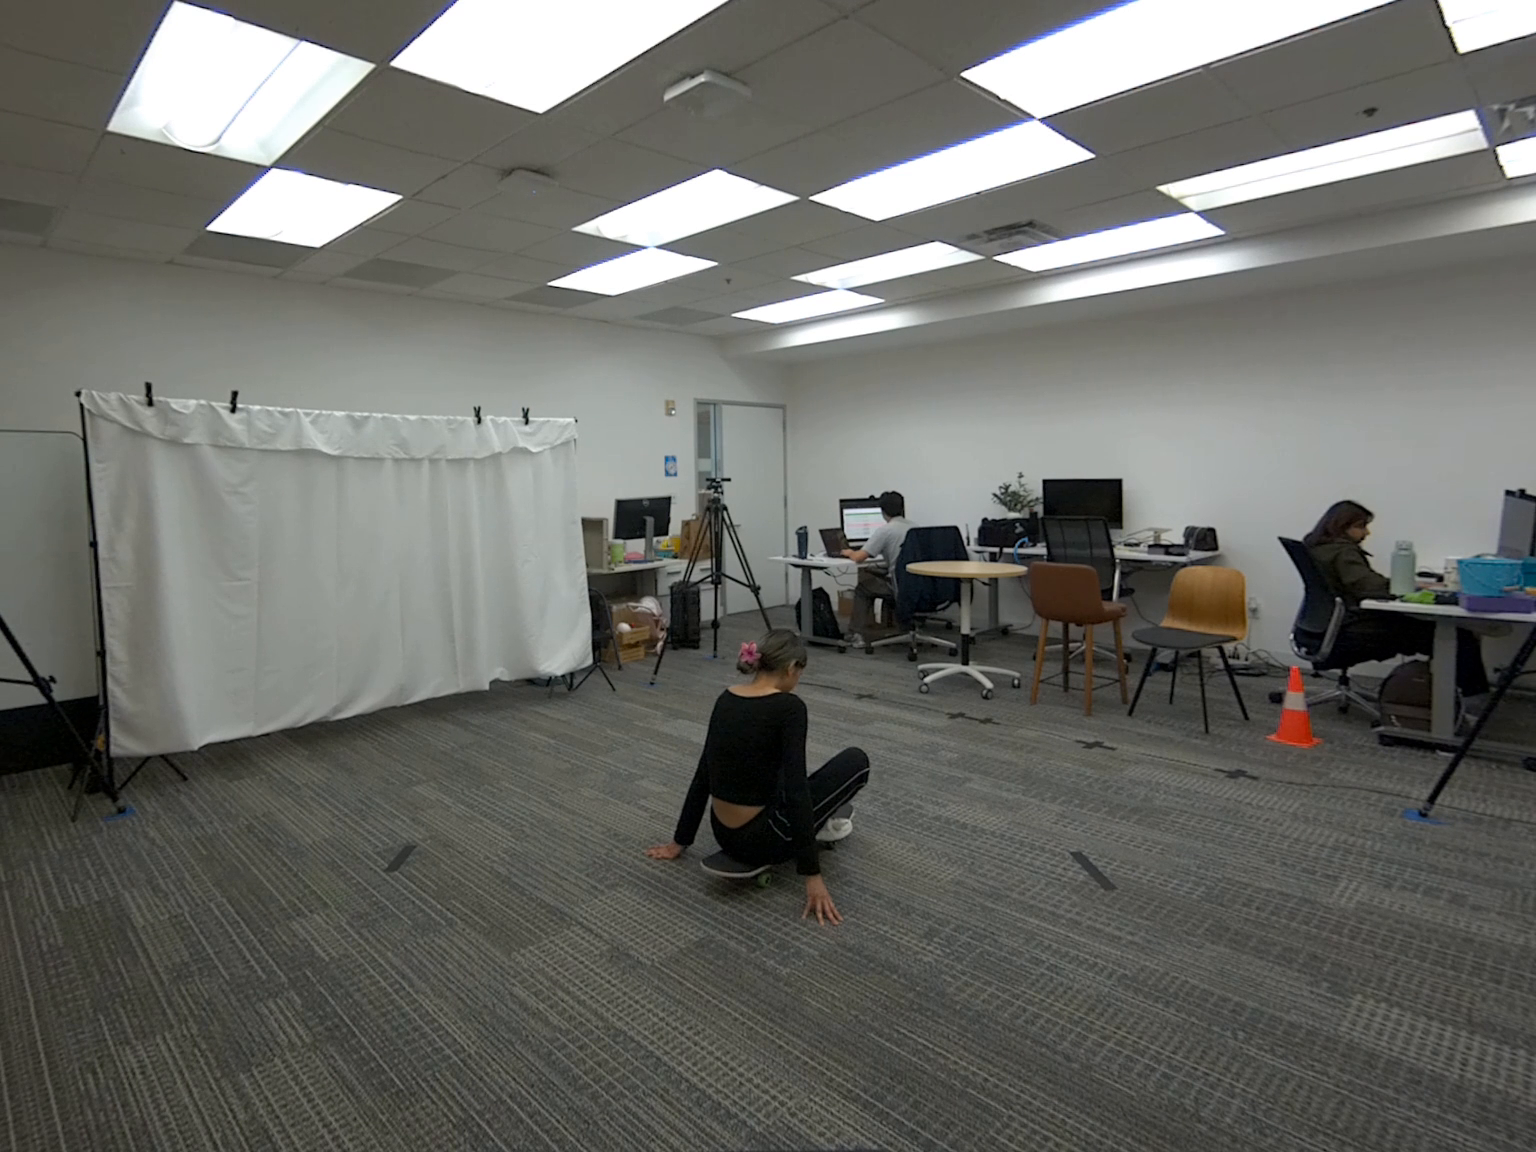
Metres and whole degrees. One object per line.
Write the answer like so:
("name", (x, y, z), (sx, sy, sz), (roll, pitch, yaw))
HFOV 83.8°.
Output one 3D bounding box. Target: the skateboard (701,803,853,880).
("skateboard", (0.051, 0.980, 3.129), (0.199, 0.109, 0.766), (5, 10, 39))
